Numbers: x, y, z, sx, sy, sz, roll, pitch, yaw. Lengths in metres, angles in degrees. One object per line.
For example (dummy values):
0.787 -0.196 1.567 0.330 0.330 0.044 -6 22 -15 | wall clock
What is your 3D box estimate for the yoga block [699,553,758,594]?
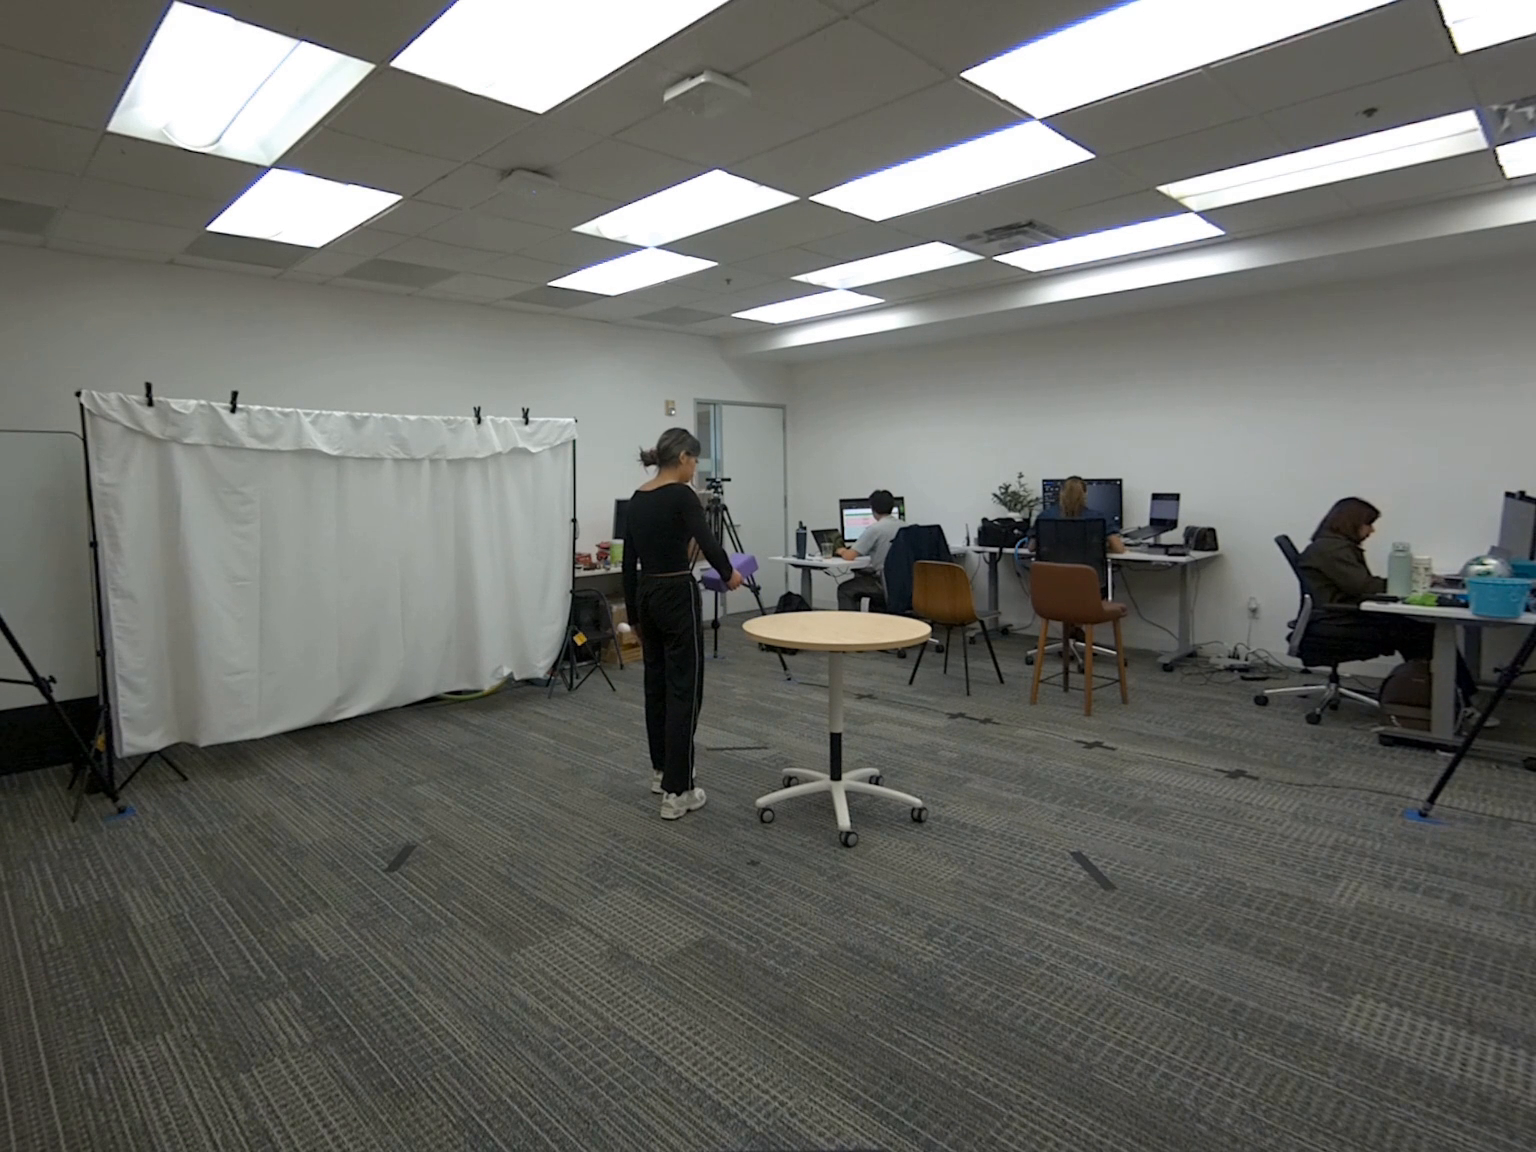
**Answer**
-0.179 -0.017 3.847 0.227 0.074 0.154 -35 27 -32 | yoga block
